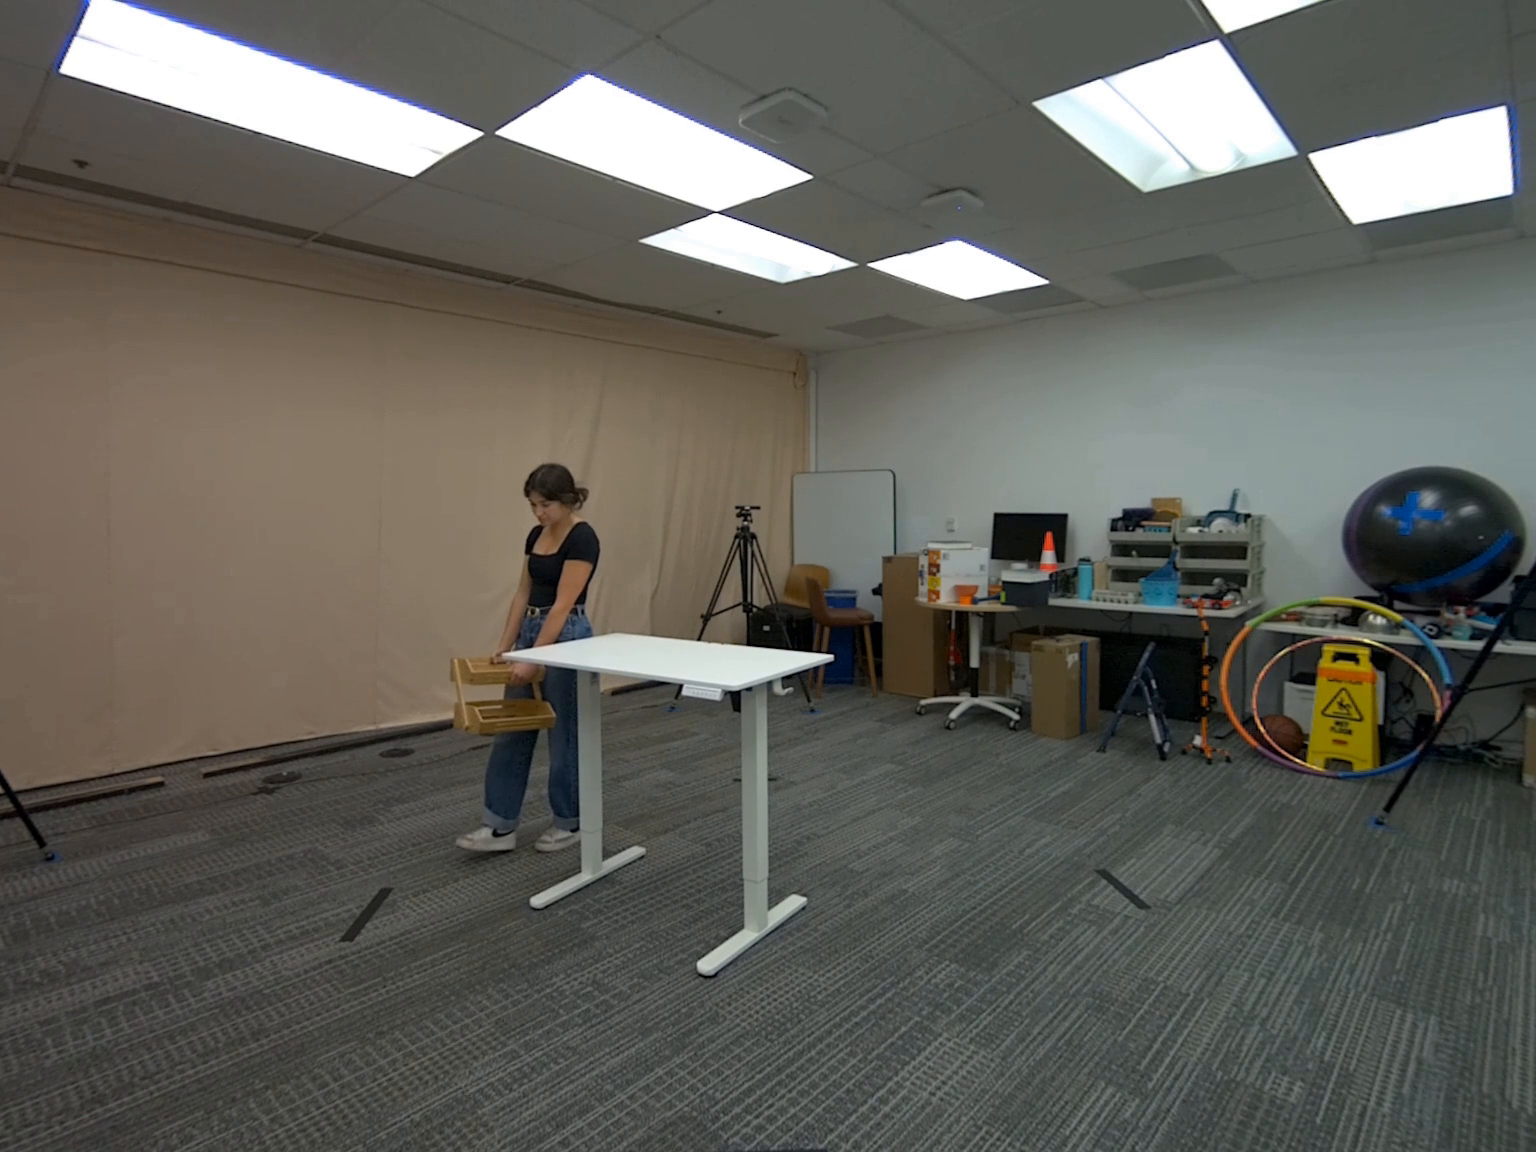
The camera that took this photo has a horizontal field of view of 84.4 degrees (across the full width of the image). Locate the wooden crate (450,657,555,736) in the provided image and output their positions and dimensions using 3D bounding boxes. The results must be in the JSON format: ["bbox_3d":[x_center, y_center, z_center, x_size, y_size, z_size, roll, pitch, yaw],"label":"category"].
[{"bbox_3d":[-1.015,0.440,3.218,0.314,0.274,0.311,4,-6,-39],"label":"wooden crate"}]
